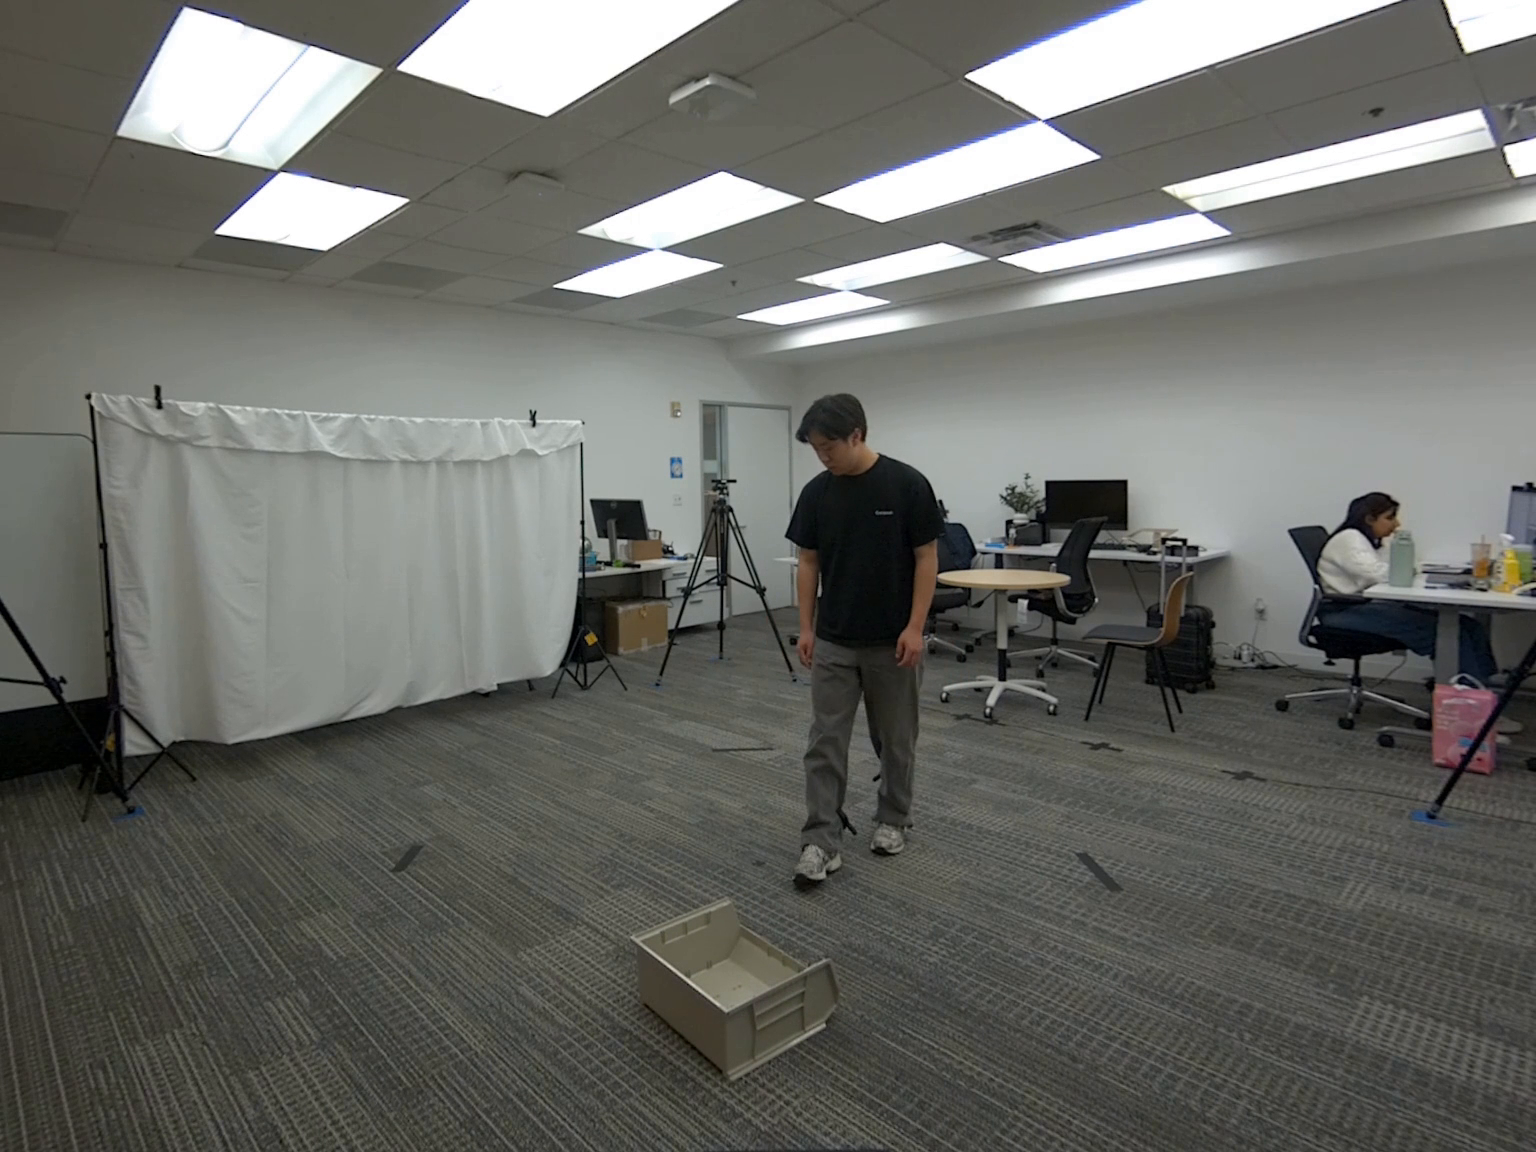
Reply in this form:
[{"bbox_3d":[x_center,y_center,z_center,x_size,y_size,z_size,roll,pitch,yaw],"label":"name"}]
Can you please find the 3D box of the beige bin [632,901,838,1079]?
[{"bbox_3d":[-0.086,1.061,2.249,0.368,0.188,0.435,-8,9,-39],"label":"beige bin"}]
